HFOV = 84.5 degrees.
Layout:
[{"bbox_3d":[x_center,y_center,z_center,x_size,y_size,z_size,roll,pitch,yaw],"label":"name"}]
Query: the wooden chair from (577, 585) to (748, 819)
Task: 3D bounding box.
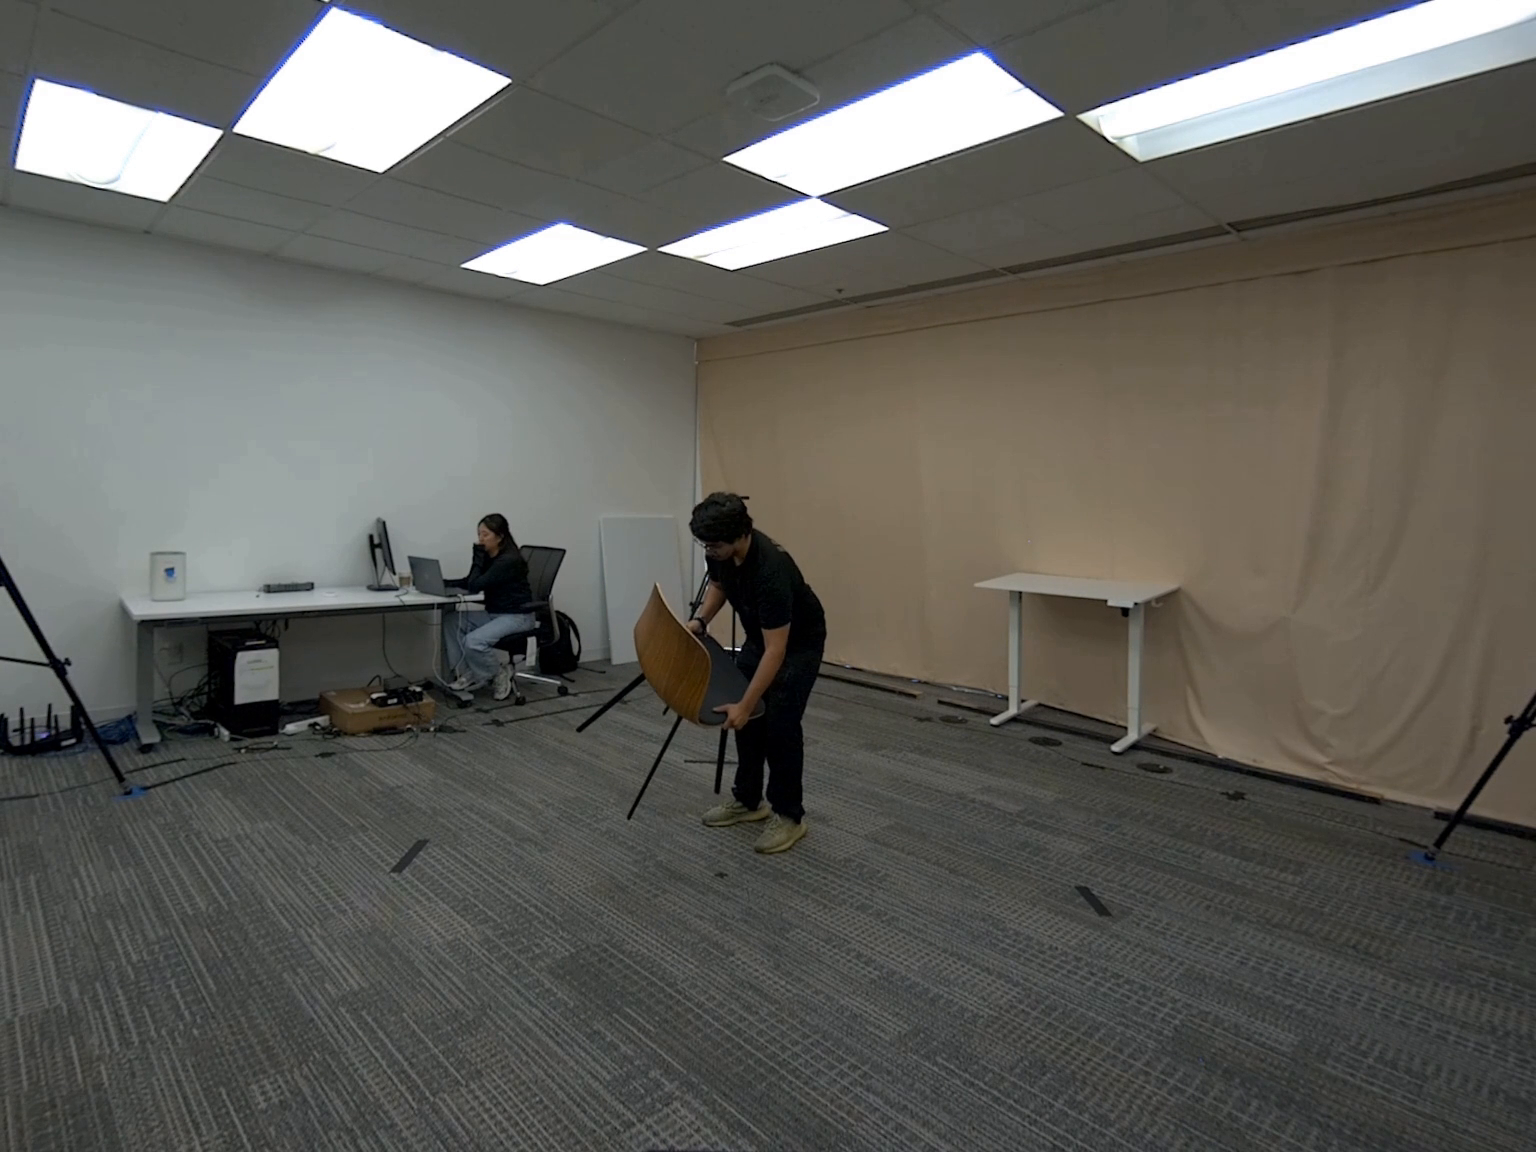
[{"bbox_3d":[-0.307,0.427,3.193,0.512,0.869,0.493,-5,42,-41],"label":"wooden chair"}]
